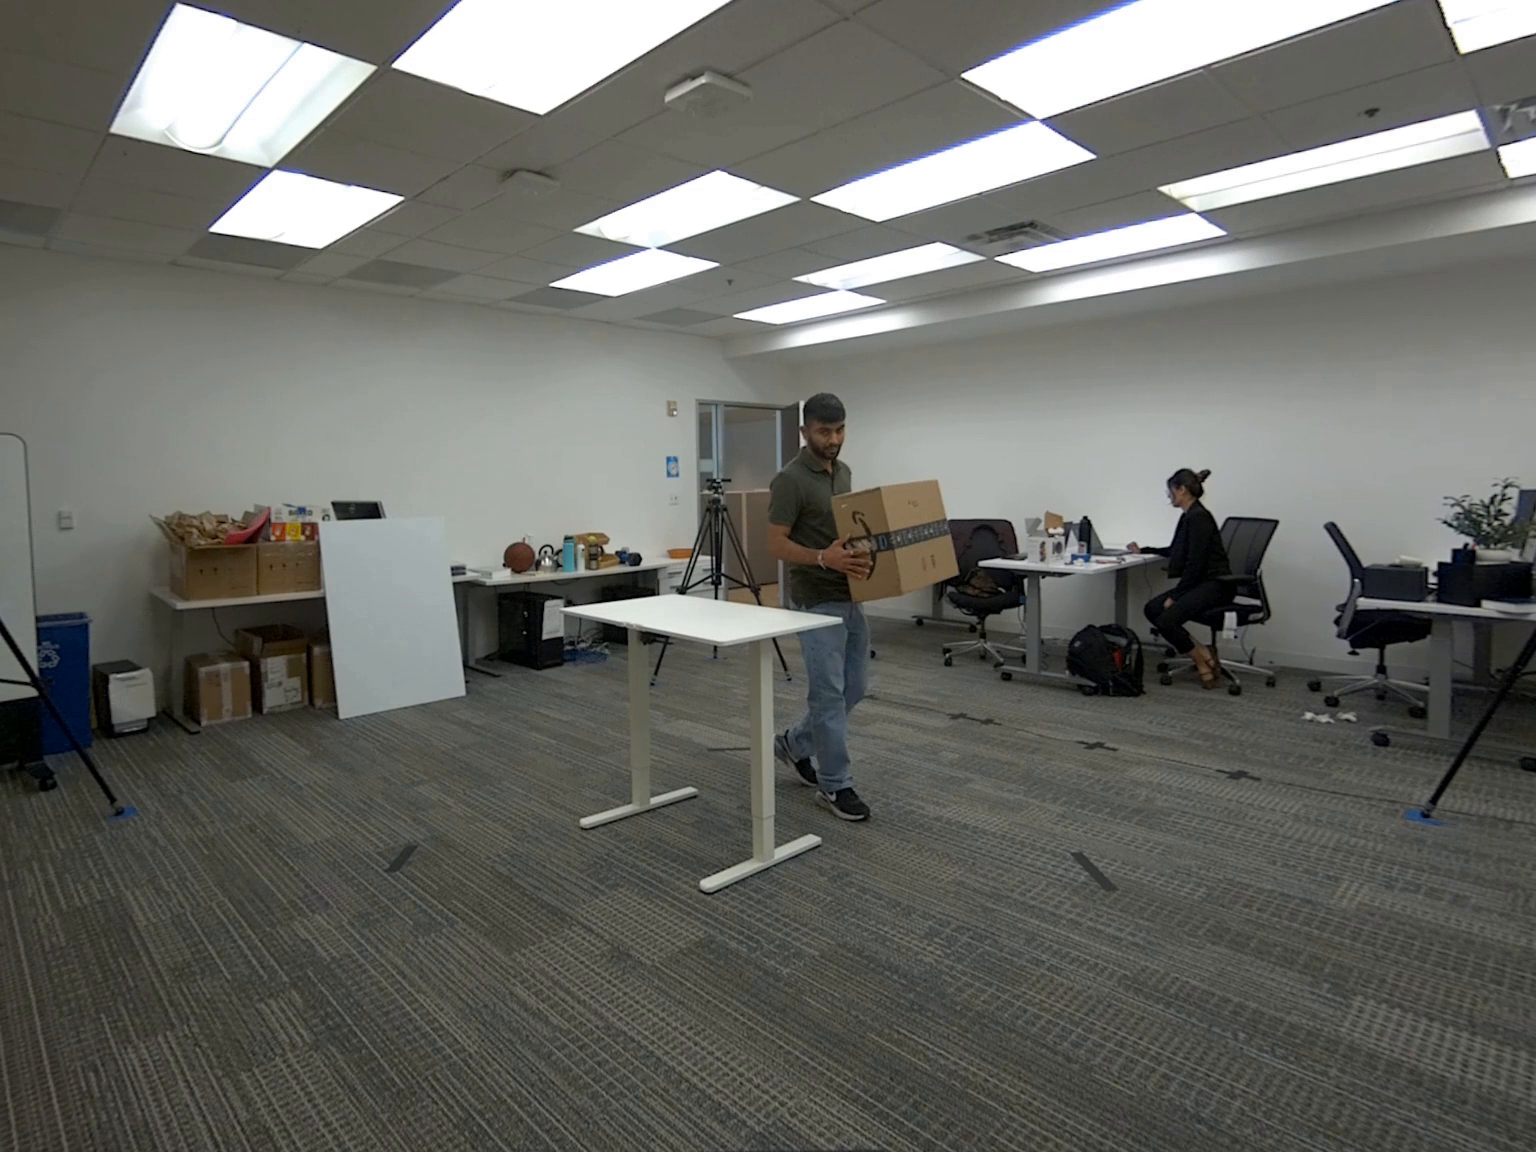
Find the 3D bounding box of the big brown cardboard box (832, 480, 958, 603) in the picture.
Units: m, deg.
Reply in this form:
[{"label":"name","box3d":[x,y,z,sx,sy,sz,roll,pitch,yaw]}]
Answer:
[{"label":"big brown cardboard box","box3d":[0.508,-0.148,3.444,0.238,0.418,0.575,-11,0,37]}]
